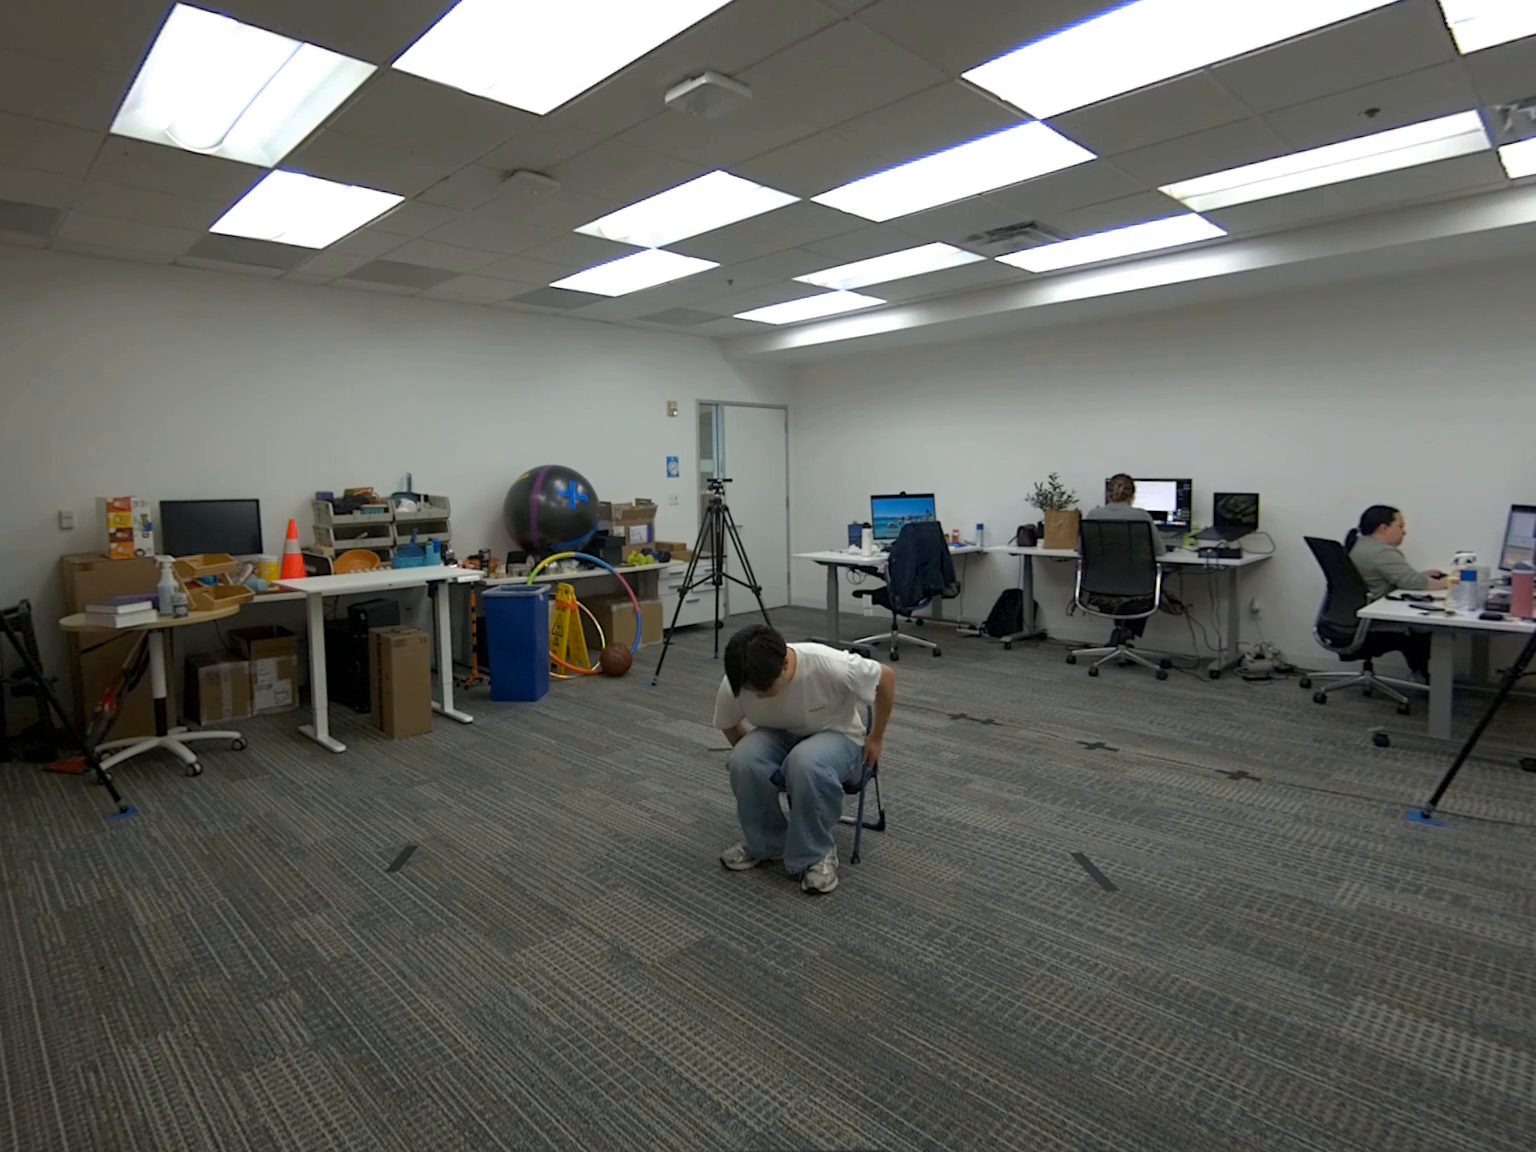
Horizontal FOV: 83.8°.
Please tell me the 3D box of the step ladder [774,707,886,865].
[{"bbox_3d":[0.214,0.716,3.328,0.441,0.604,0.342,2,4,28],"label":"step ladder"}]
